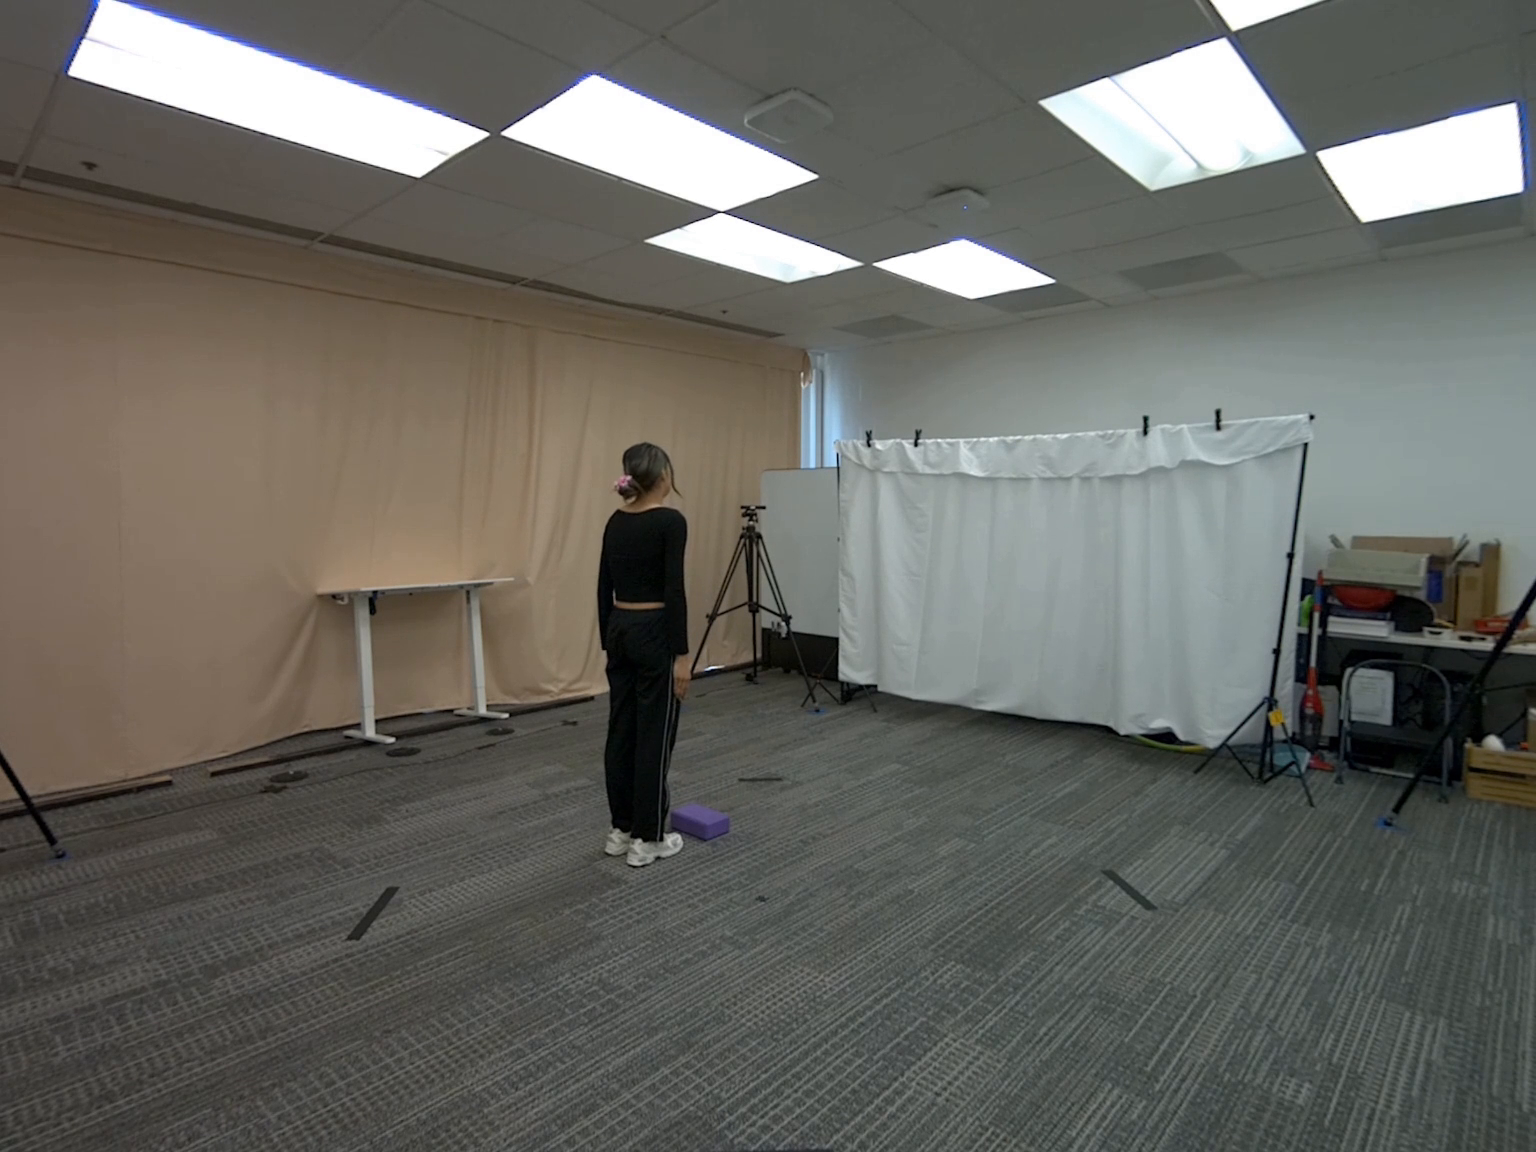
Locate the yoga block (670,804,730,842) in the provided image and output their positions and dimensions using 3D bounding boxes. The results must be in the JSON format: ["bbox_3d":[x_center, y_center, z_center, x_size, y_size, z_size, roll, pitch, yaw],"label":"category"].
[{"bbox_3d":[-0.297,1.051,3.618,0.237,0.076,0.144,4,5,44],"label":"yoga block"}]
